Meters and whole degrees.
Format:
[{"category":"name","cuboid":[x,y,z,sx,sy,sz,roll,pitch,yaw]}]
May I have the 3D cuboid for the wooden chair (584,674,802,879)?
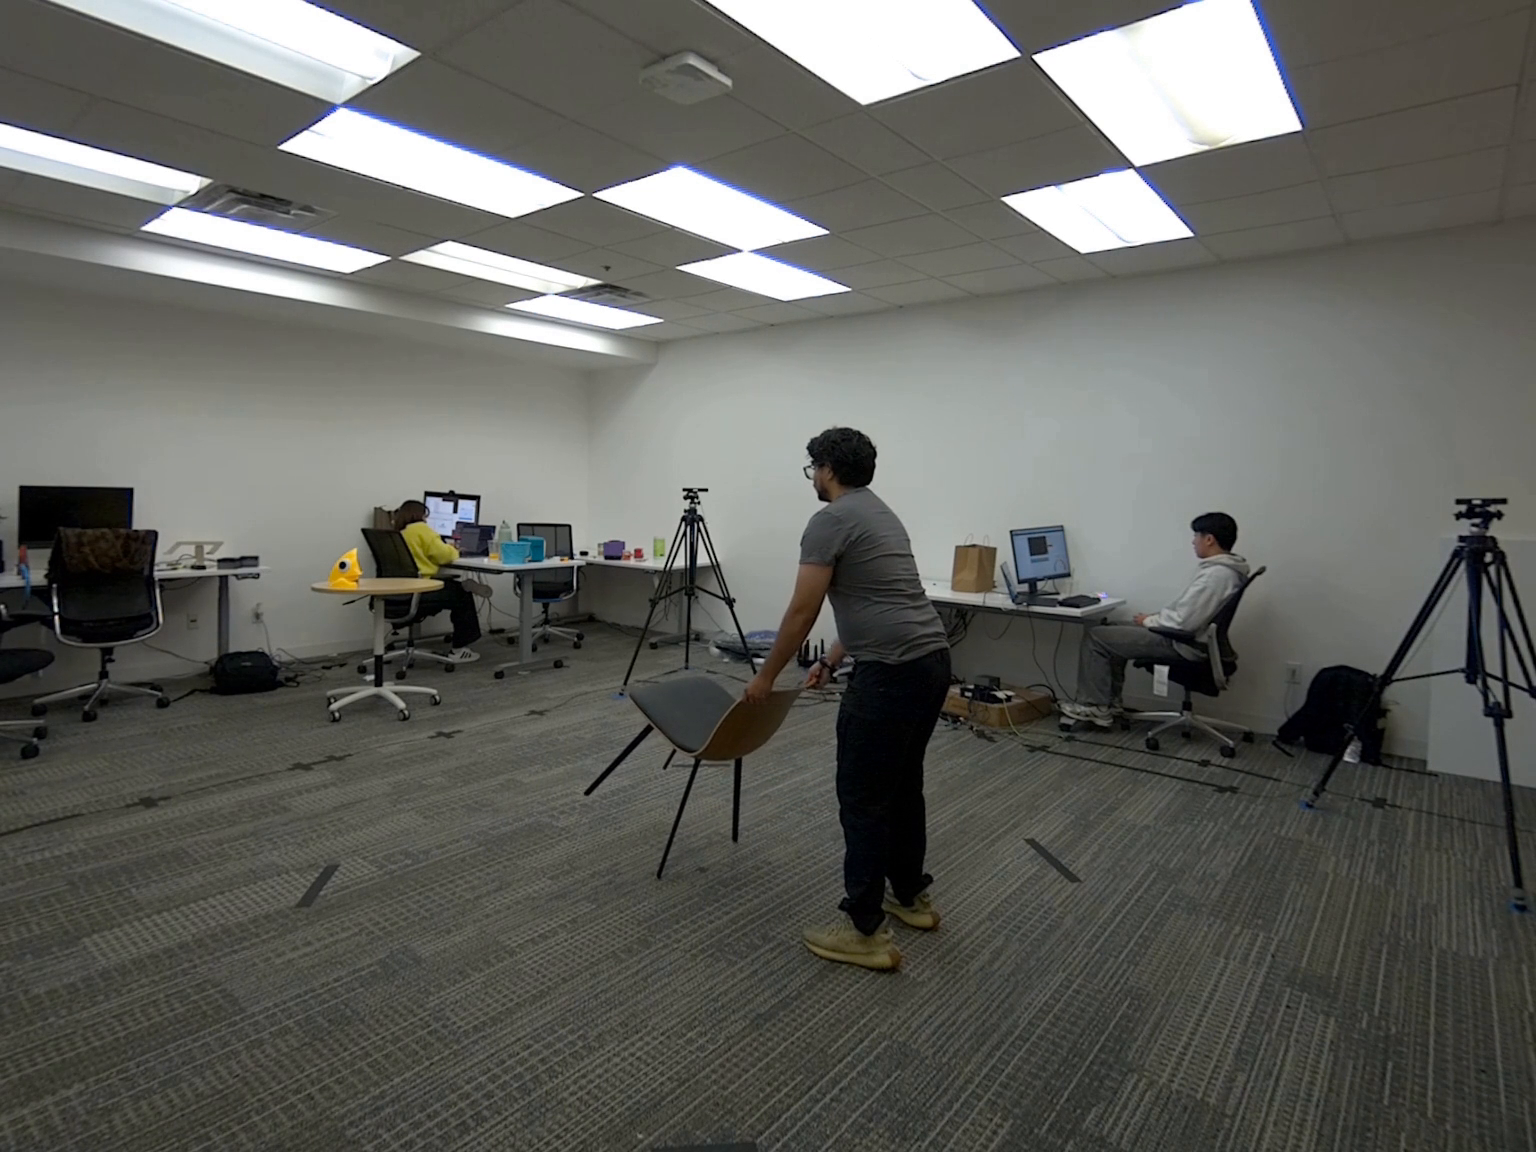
[{"category":"wooden chair","cuboid":[-0.265,0.573,3.175,0.543,0.871,0.464,42,26,29]}]
